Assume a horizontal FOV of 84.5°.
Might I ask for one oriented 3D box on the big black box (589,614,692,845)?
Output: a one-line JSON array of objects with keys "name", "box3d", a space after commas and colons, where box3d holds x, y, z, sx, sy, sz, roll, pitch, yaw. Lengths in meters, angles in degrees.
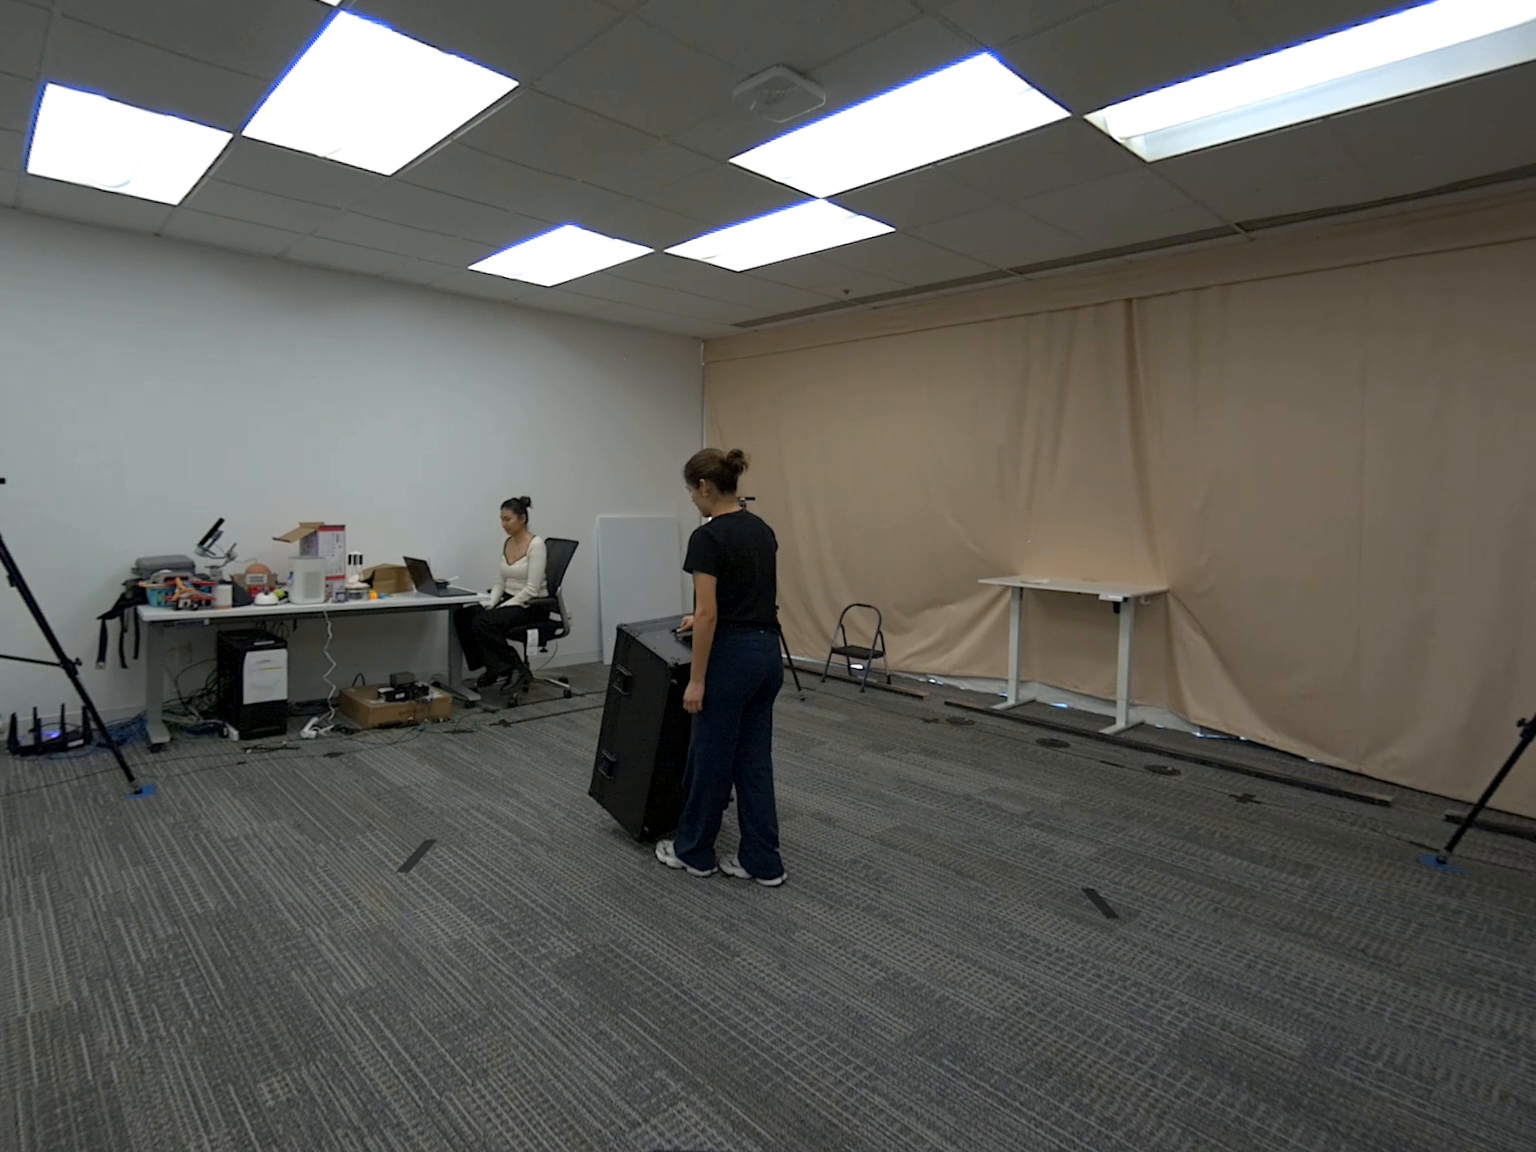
[{"name": "big black box", "box3d": [-0.371, 0.578, 3.400, 0.510, 0.853, 0.409, -6, 25, -44]}]
